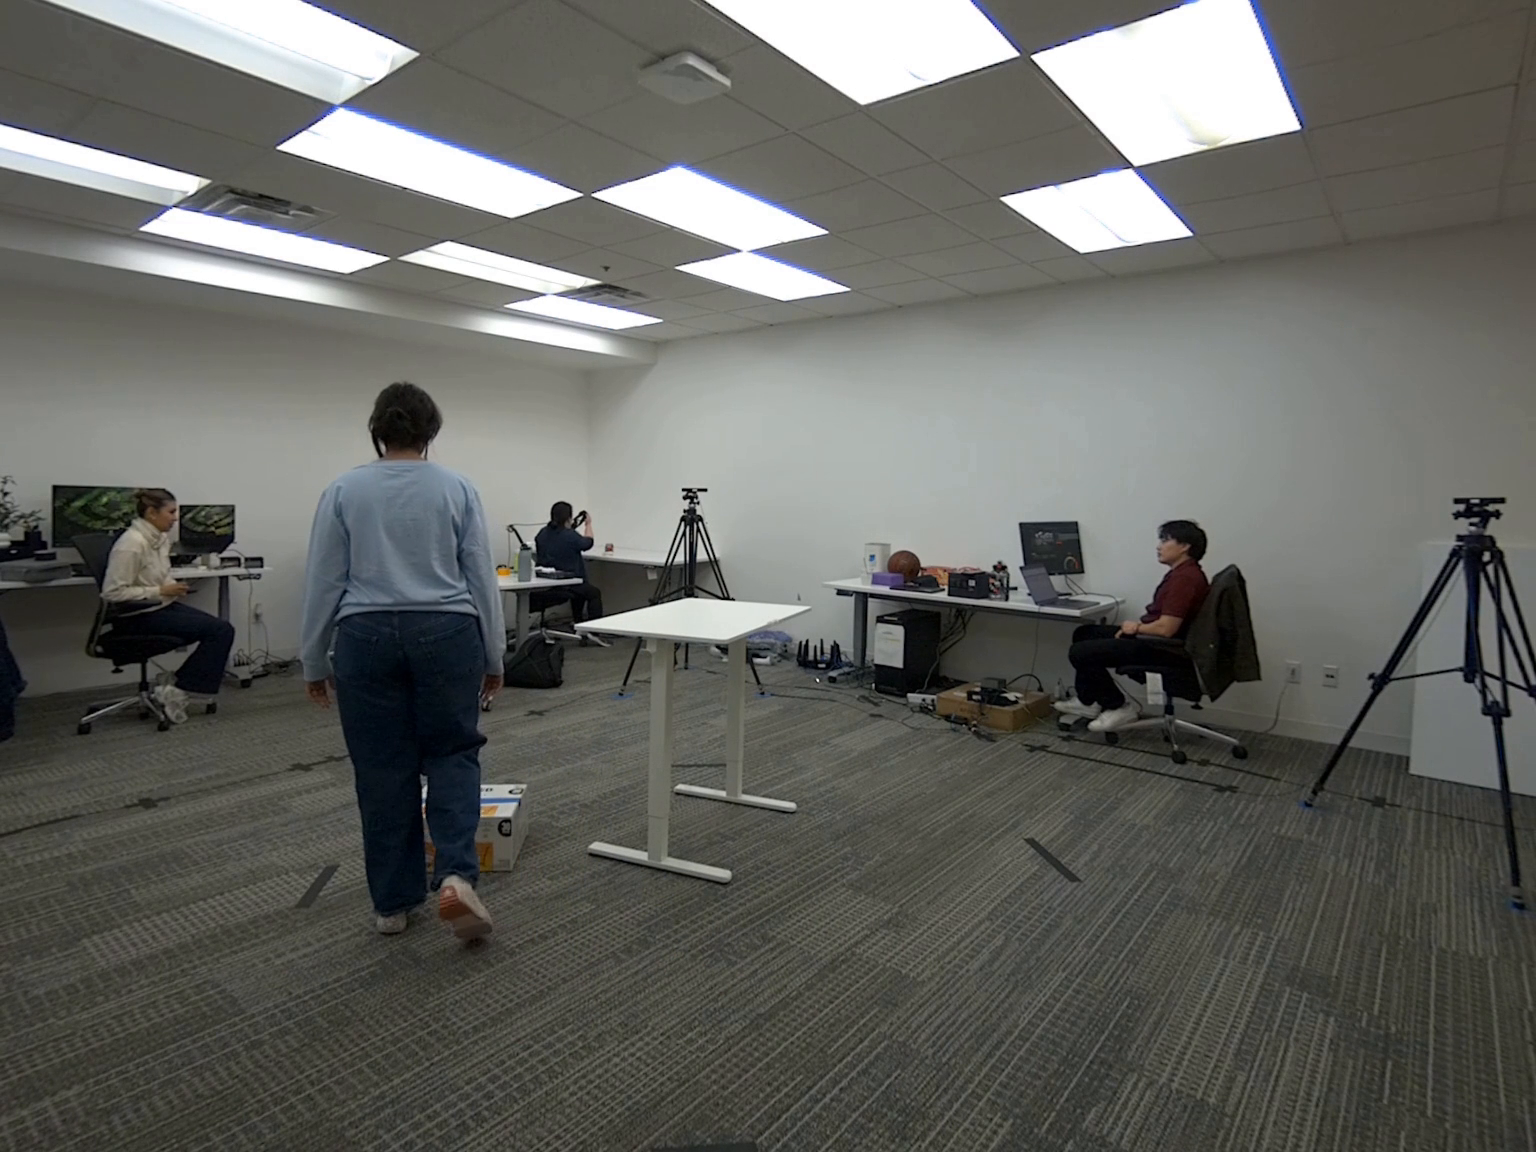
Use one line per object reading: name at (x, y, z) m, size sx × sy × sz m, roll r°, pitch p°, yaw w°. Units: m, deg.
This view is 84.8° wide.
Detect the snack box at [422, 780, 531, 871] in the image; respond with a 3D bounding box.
snack box at (-1.141, 0.939, 3.202) m, size 0.403 × 0.205 × 0.343 m, roll 0°, pitch 5°, yaw -5°
